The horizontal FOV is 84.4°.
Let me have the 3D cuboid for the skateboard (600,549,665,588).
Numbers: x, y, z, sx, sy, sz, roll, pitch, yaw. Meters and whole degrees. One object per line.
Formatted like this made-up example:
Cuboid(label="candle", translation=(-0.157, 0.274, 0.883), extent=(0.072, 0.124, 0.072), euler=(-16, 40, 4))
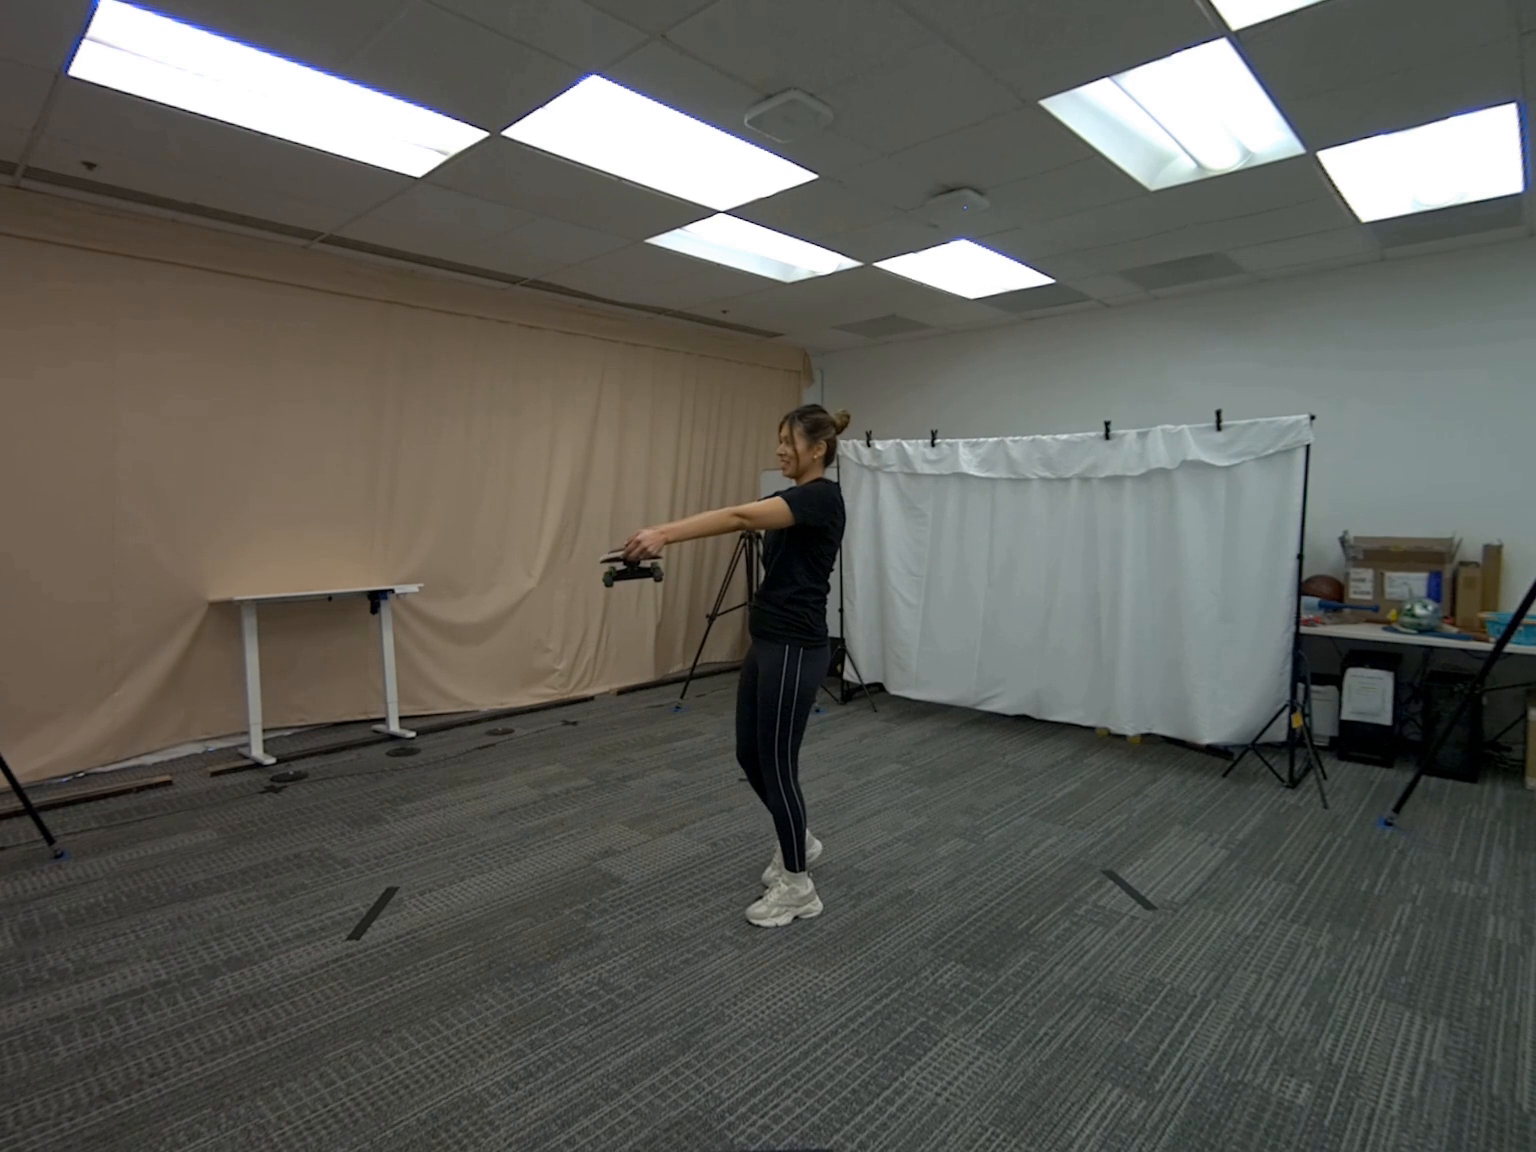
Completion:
Cuboid(label="skateboard", translation=(-0.452, -0.031, 2.809), extent=(0.192, 0.110, 0.792), euler=(-5, 3, -8))
